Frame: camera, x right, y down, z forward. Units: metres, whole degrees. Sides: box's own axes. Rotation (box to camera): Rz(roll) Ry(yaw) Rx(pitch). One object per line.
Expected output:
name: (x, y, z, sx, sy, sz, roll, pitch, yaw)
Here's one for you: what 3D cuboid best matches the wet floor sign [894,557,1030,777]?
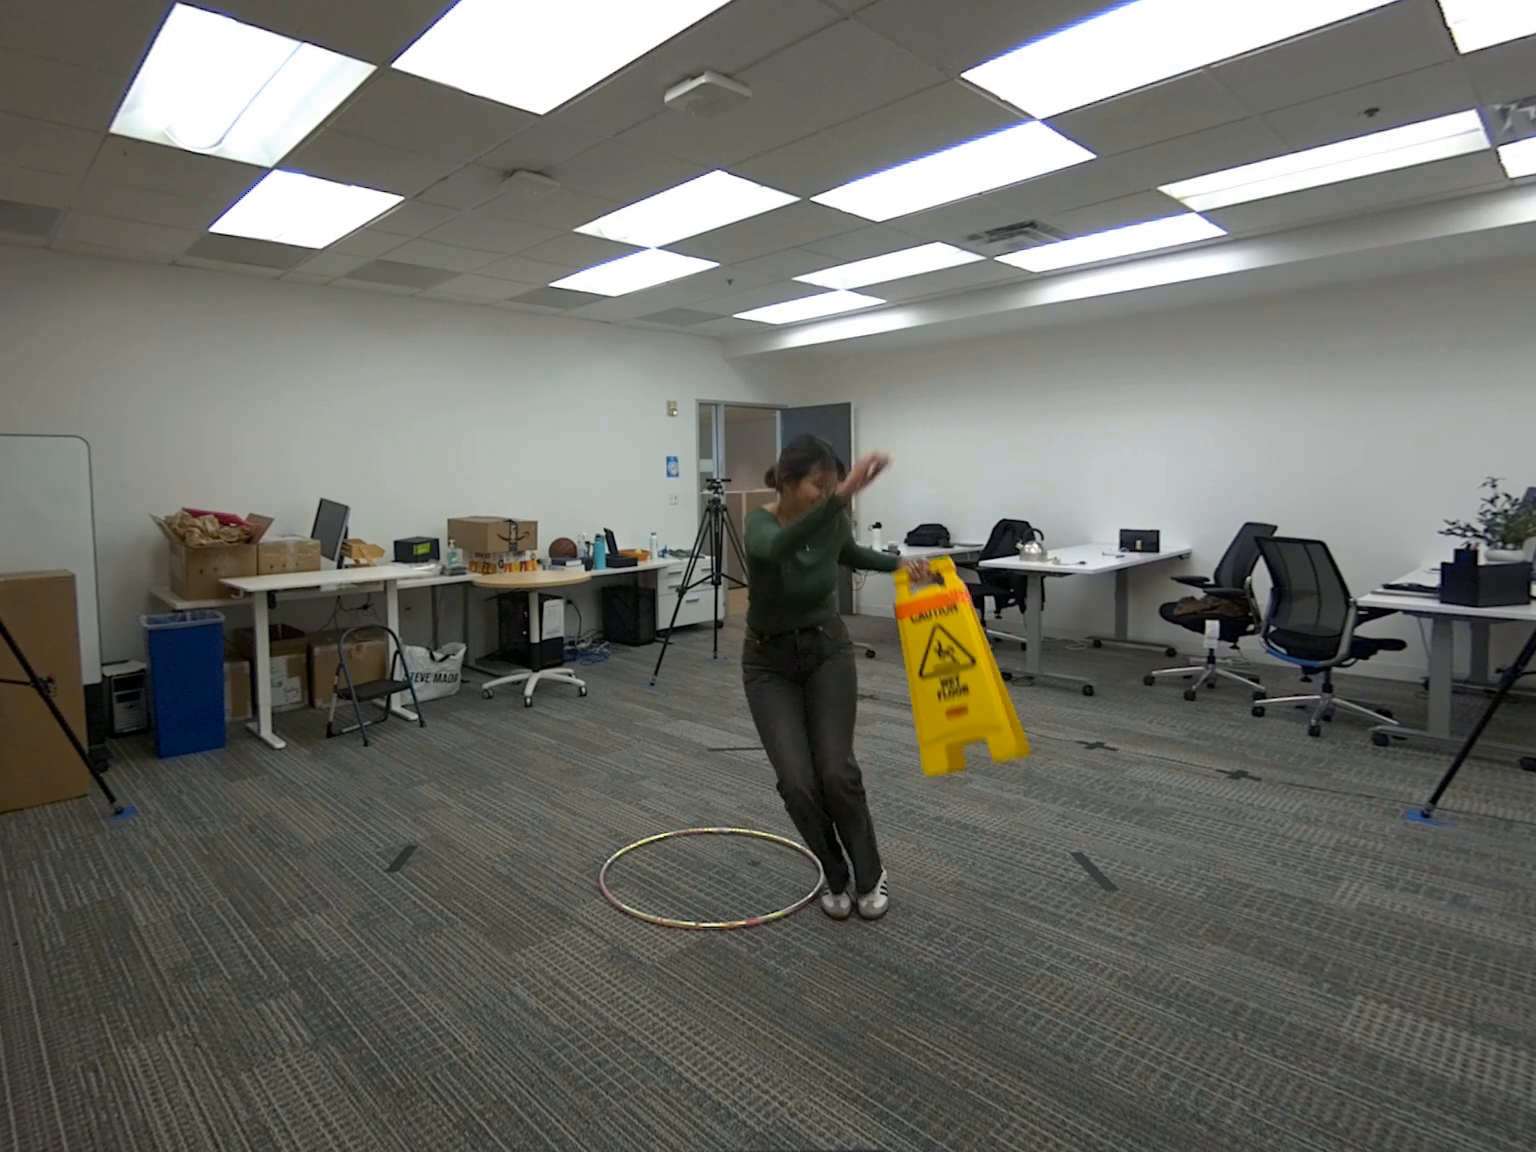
wet floor sign: (0.544, 0.258, 2.691, 0.285, 0.659, 0.281, -20, -19, 19)
